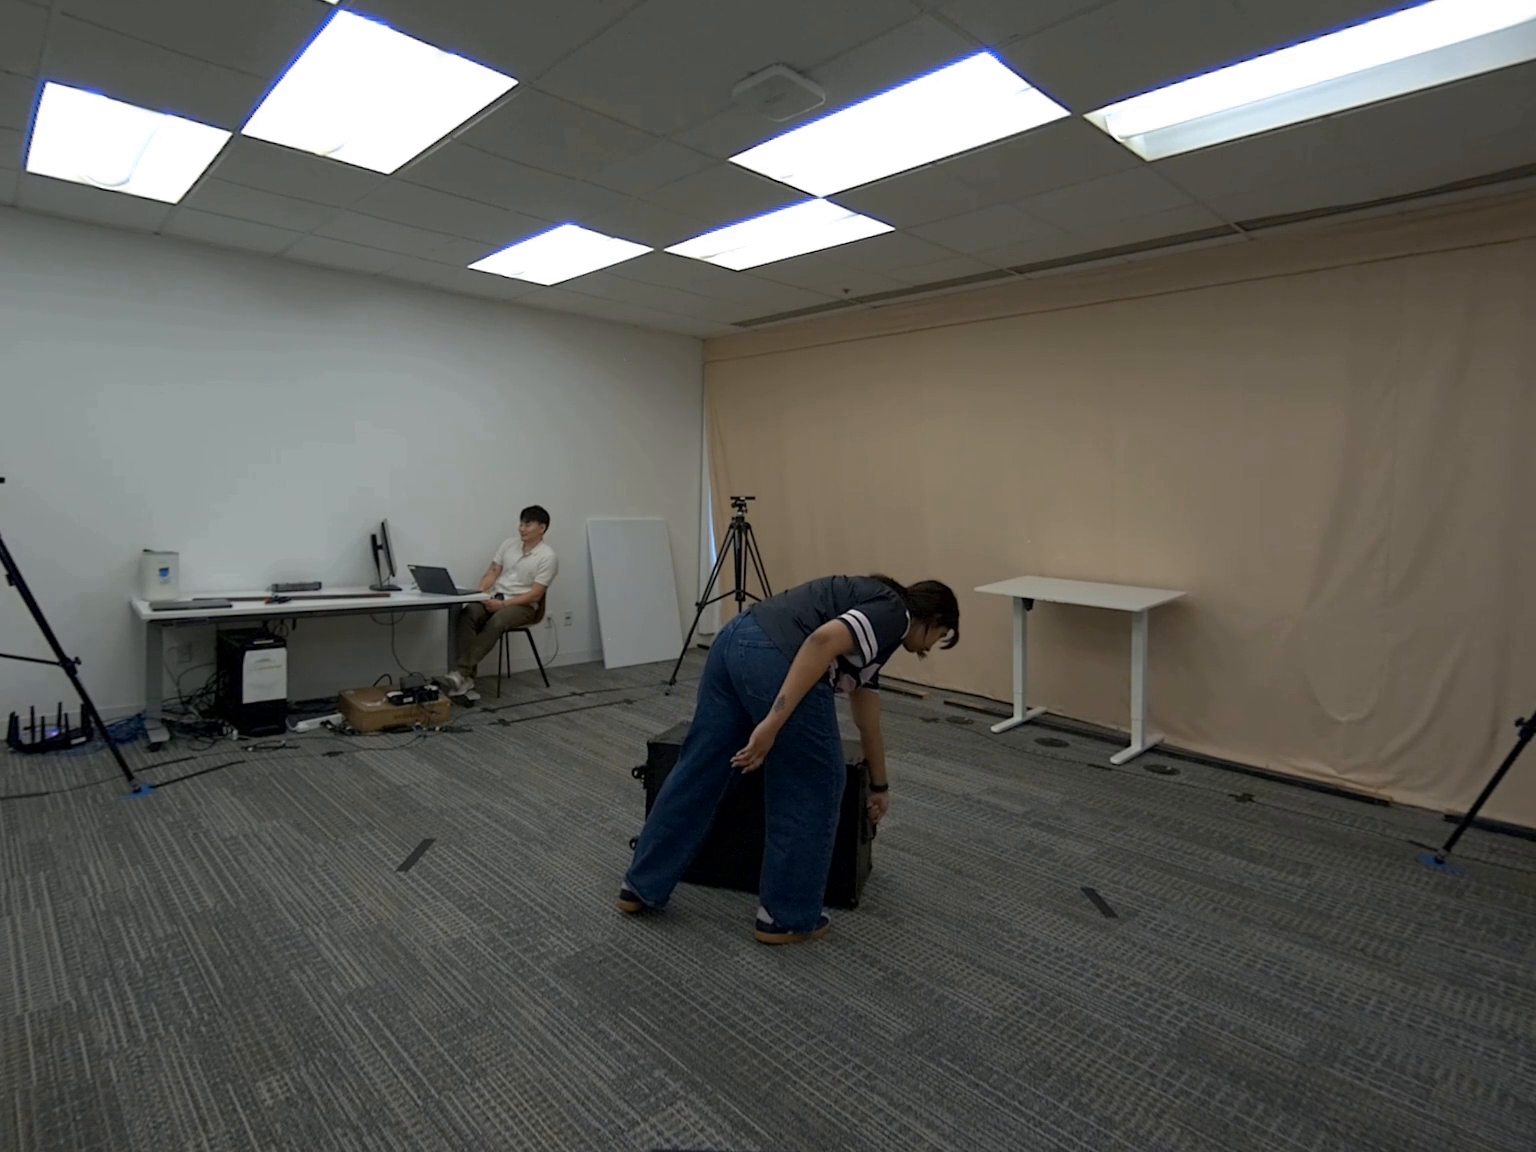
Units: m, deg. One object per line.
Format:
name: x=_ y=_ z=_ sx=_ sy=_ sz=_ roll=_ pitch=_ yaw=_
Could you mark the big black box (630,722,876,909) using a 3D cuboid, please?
big black box: x=-0.064 y=0.847 z=3.136 sx=0.881 sy=0.522 sz=0.380 roll=3 pitch=4 yaw=17
